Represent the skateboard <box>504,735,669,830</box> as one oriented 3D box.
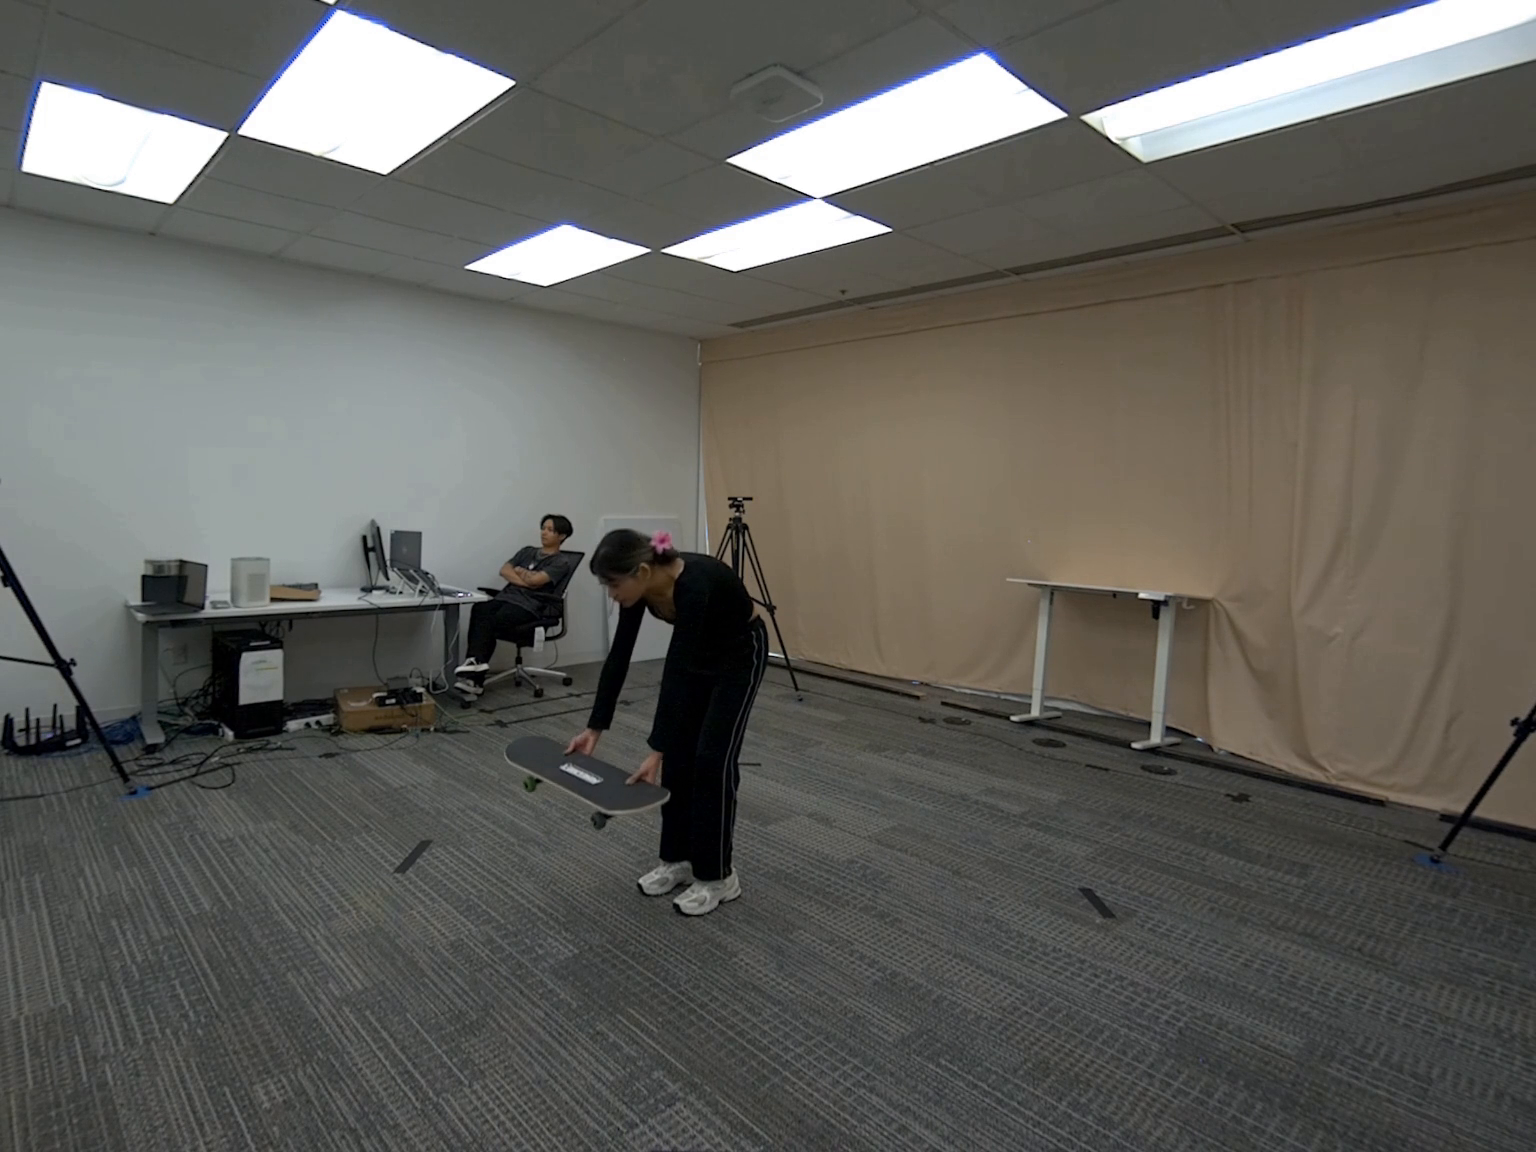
[{"bbox_3d":[-0.594,0.650,2.641,0.190,0.109,0.806,-14,14,-42],"label":"skateboard"}]
